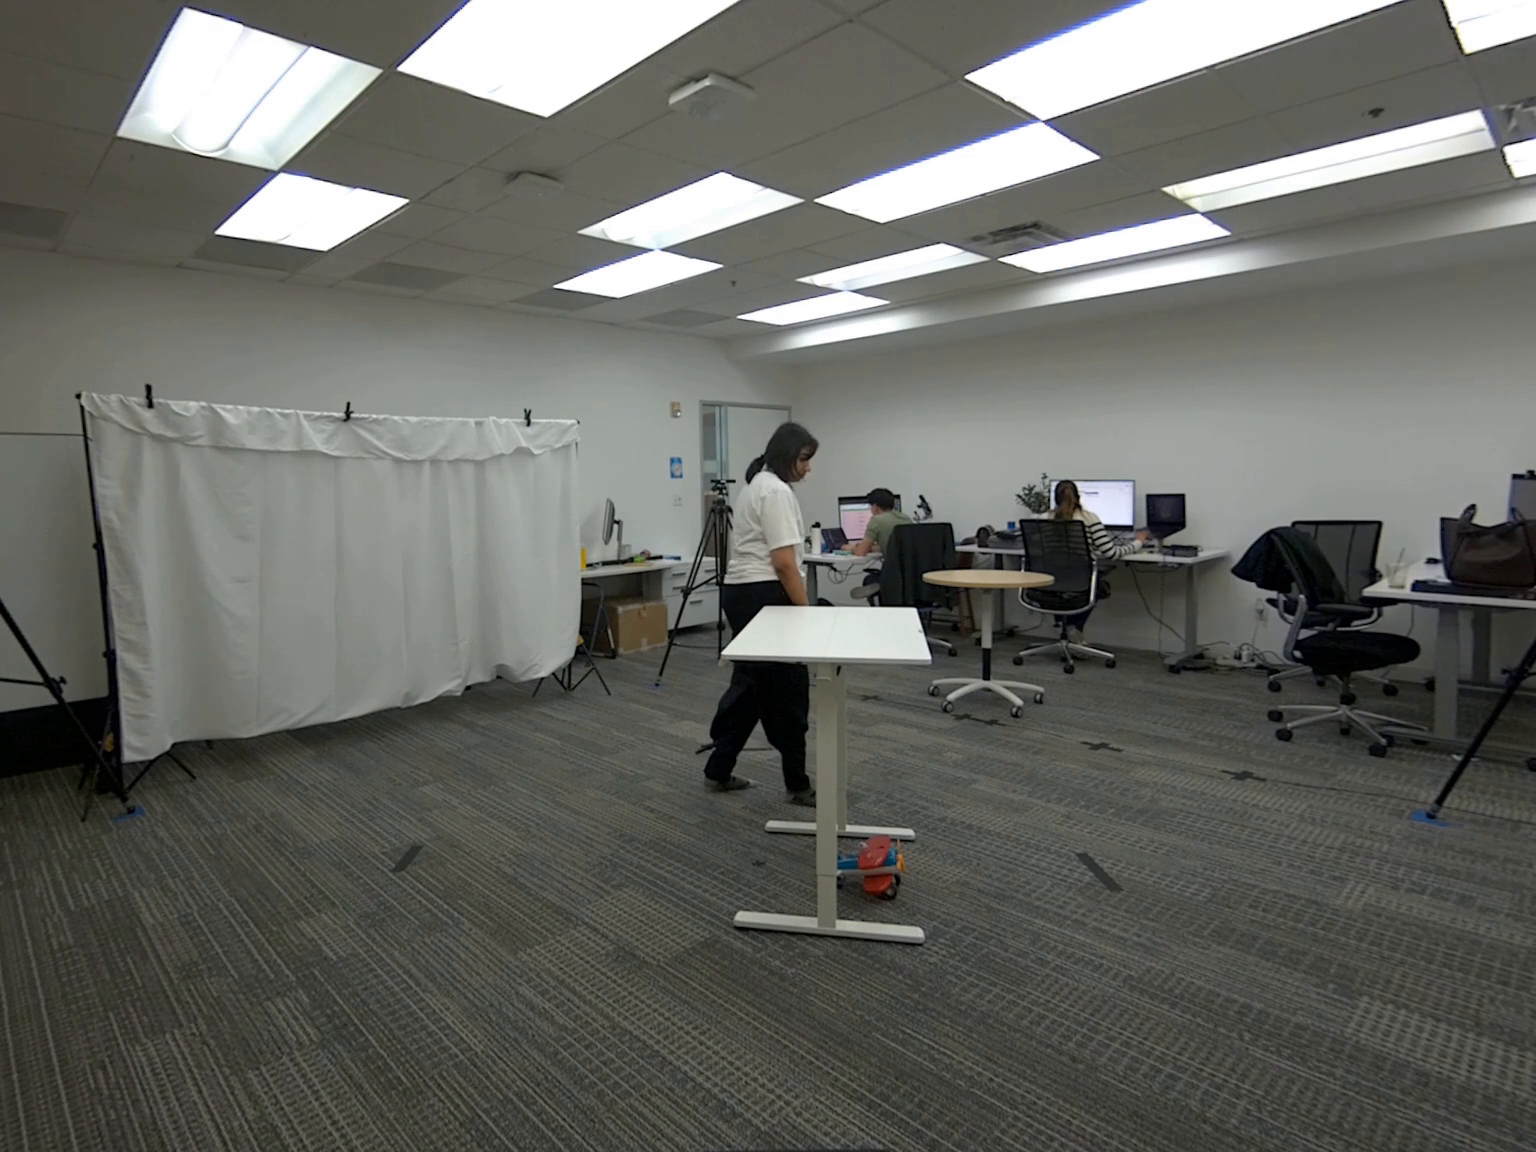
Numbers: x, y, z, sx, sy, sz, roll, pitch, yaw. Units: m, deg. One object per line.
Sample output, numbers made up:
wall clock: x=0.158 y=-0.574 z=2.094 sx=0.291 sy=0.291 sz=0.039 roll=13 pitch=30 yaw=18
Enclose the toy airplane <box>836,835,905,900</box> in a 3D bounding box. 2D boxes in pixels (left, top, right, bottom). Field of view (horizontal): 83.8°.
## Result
toy airplane: x=0.337 y=0.996 z=2.874 sx=0.256 sy=0.156 sz=0.255 roll=-2 pitch=5 yaw=-11
